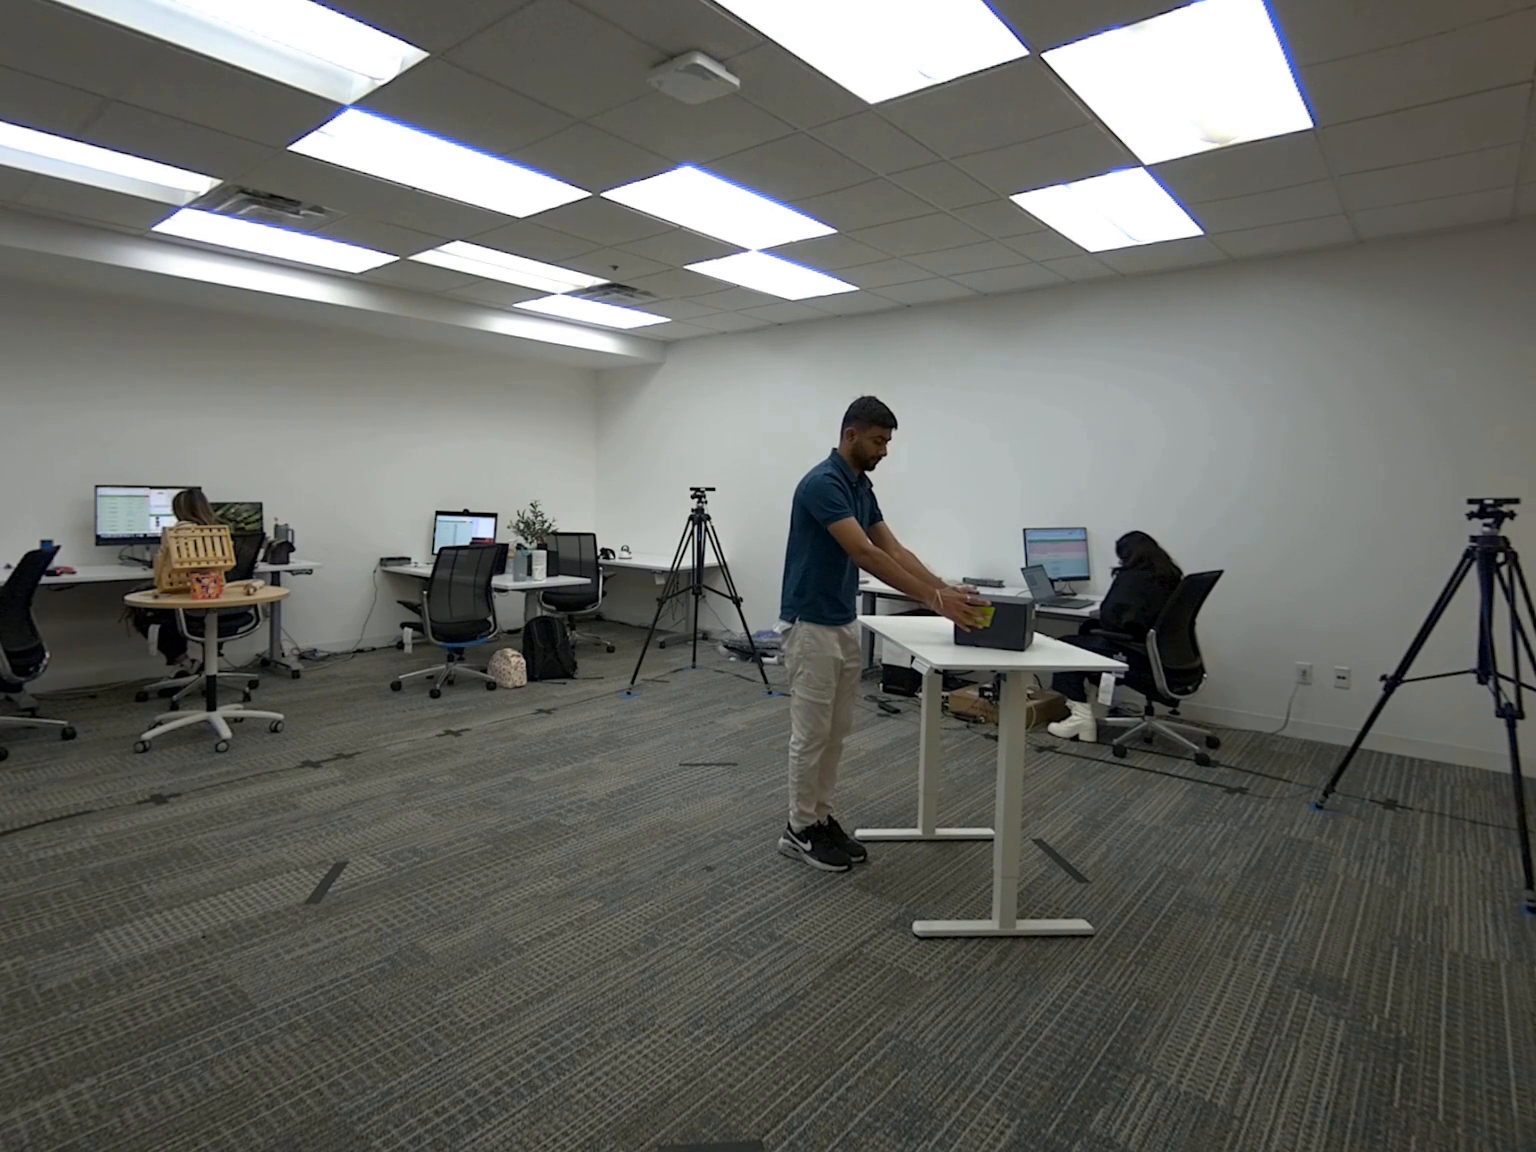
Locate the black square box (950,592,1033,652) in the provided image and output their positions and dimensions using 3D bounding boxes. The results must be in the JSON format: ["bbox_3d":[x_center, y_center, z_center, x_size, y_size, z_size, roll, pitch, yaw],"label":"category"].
[{"bbox_3d":[0.766,0.148,2.878,0.234,0.155,0.212,4,6,25],"label":"black square box"}]
